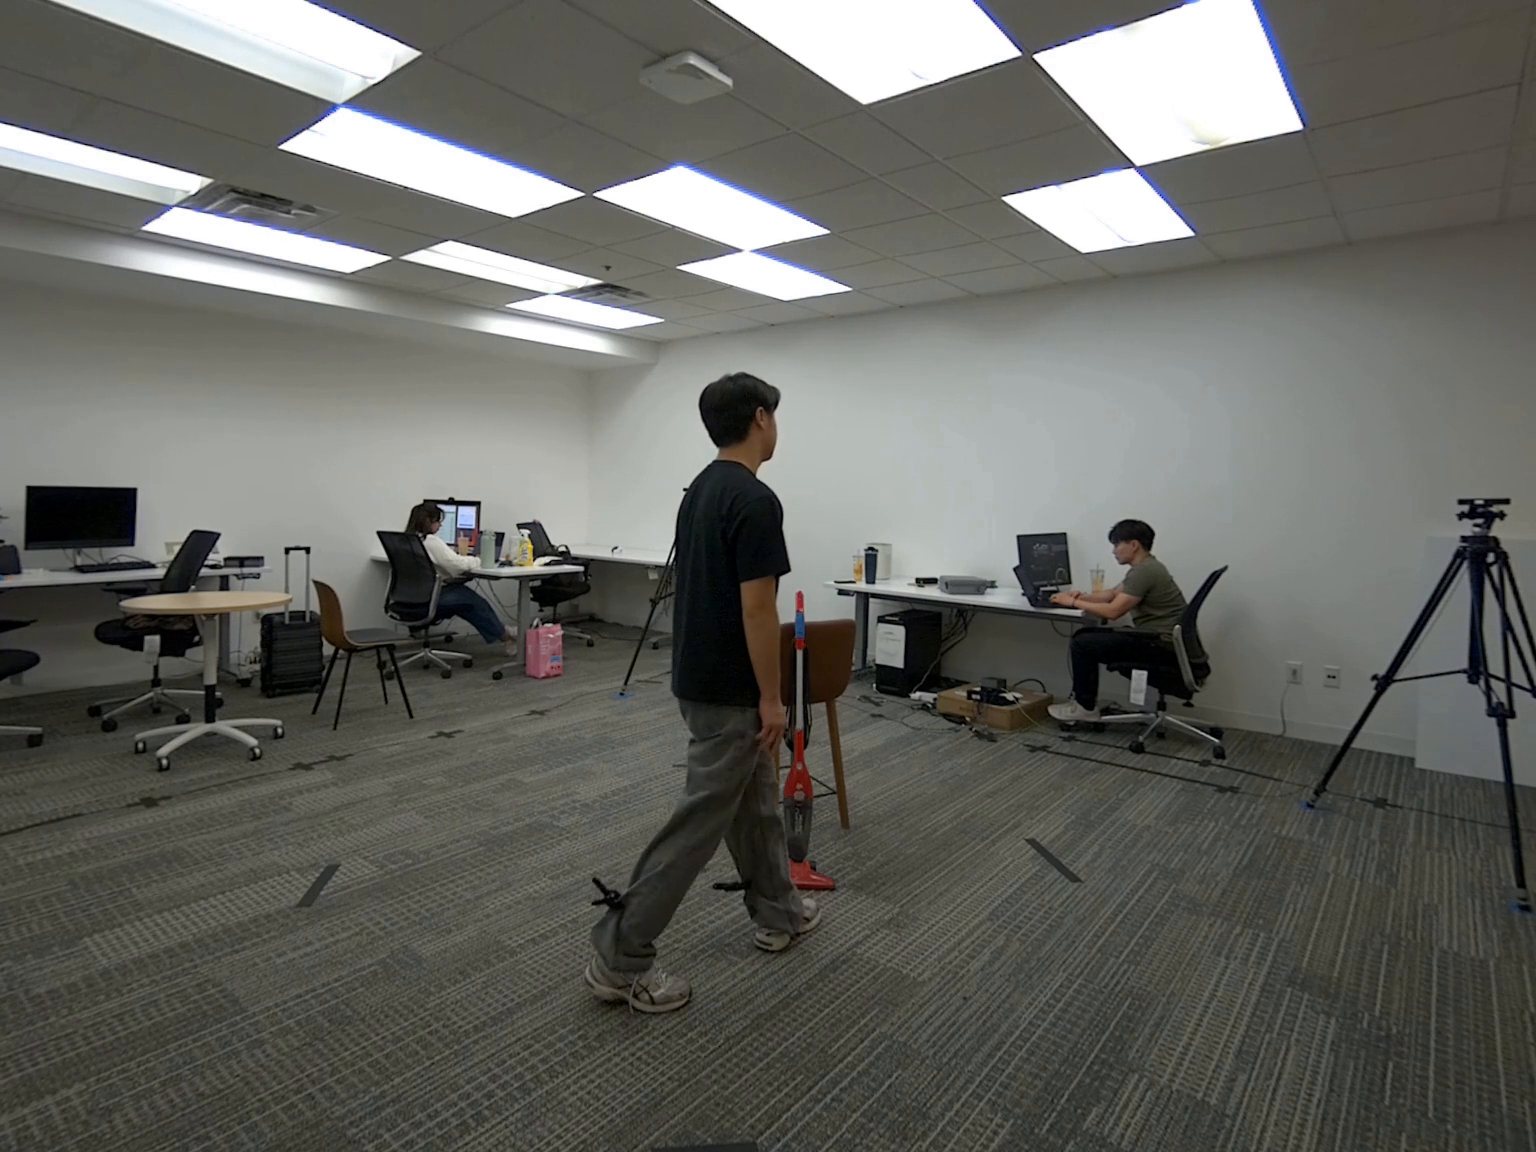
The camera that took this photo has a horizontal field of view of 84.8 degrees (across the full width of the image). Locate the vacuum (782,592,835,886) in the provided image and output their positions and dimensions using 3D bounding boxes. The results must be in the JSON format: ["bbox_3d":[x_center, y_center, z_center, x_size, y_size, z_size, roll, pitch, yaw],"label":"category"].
[{"bbox_3d":[0.114,0.571,3.206,0.252,1.067,0.142,2,-18,-2],"label":"vacuum"}]
